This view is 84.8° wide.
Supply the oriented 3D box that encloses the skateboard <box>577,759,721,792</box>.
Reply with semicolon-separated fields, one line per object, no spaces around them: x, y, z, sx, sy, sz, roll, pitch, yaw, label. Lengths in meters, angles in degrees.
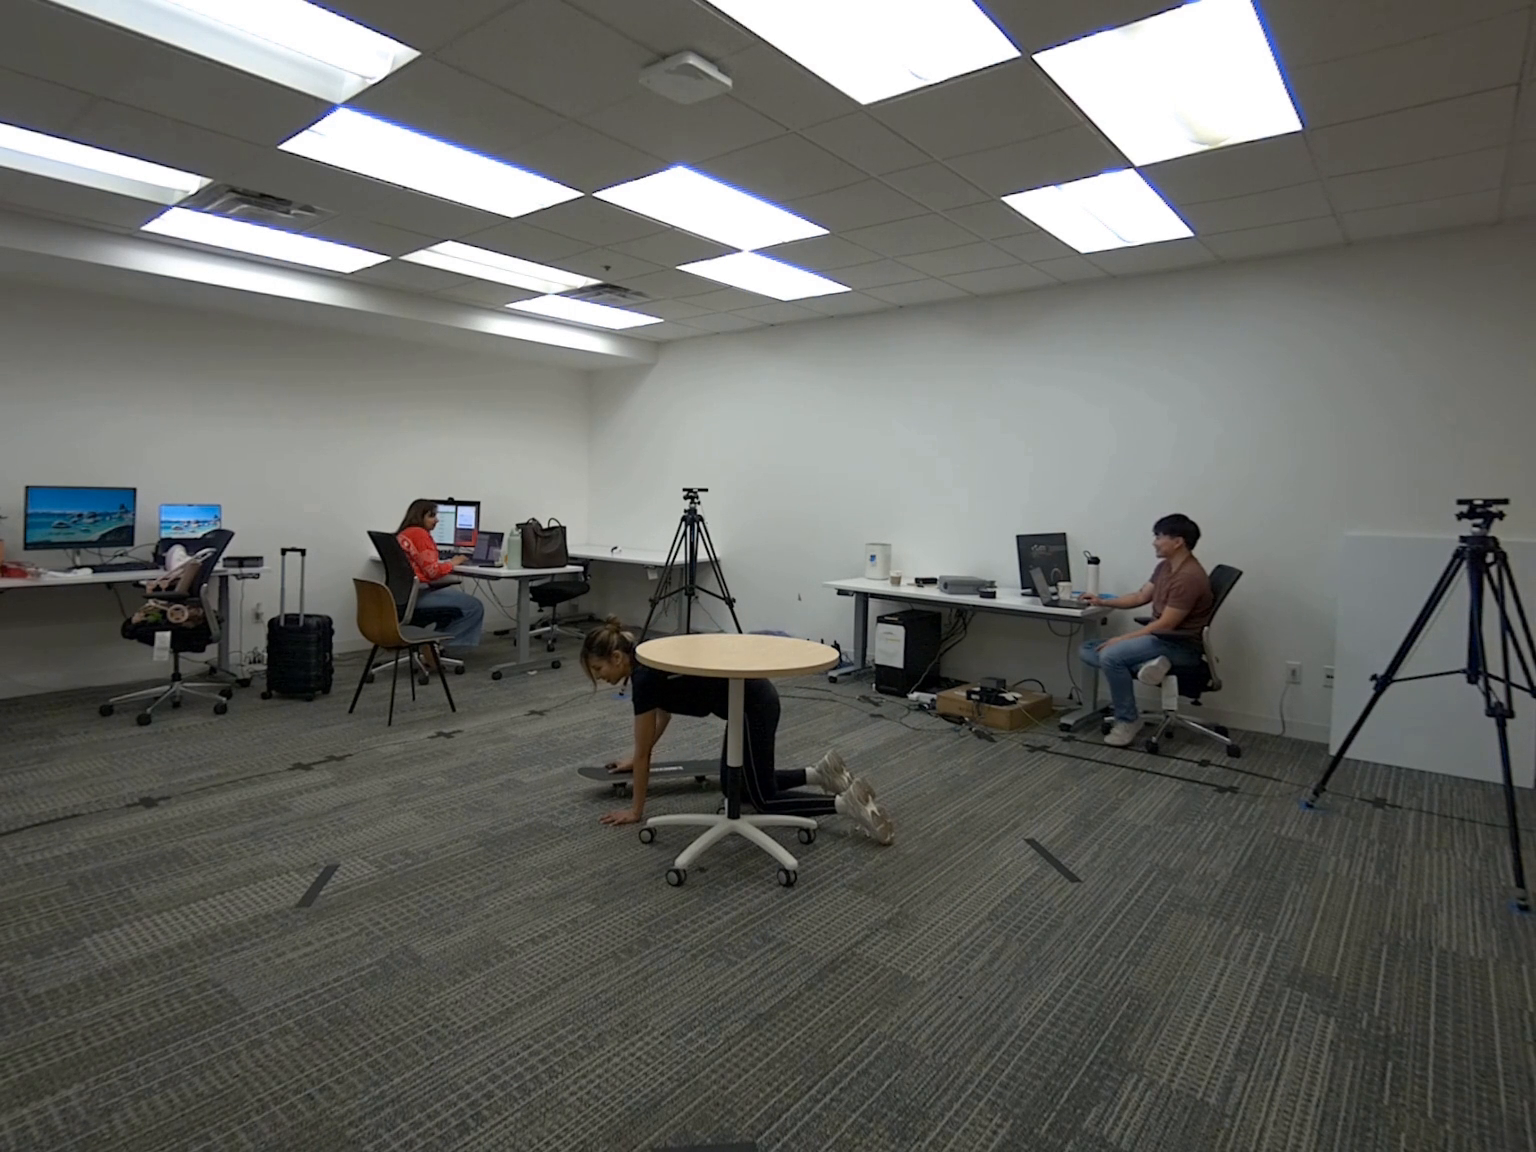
-0.514;0.925;3.947;0.773;0.110;0.197;0;5;-16;skateboard
